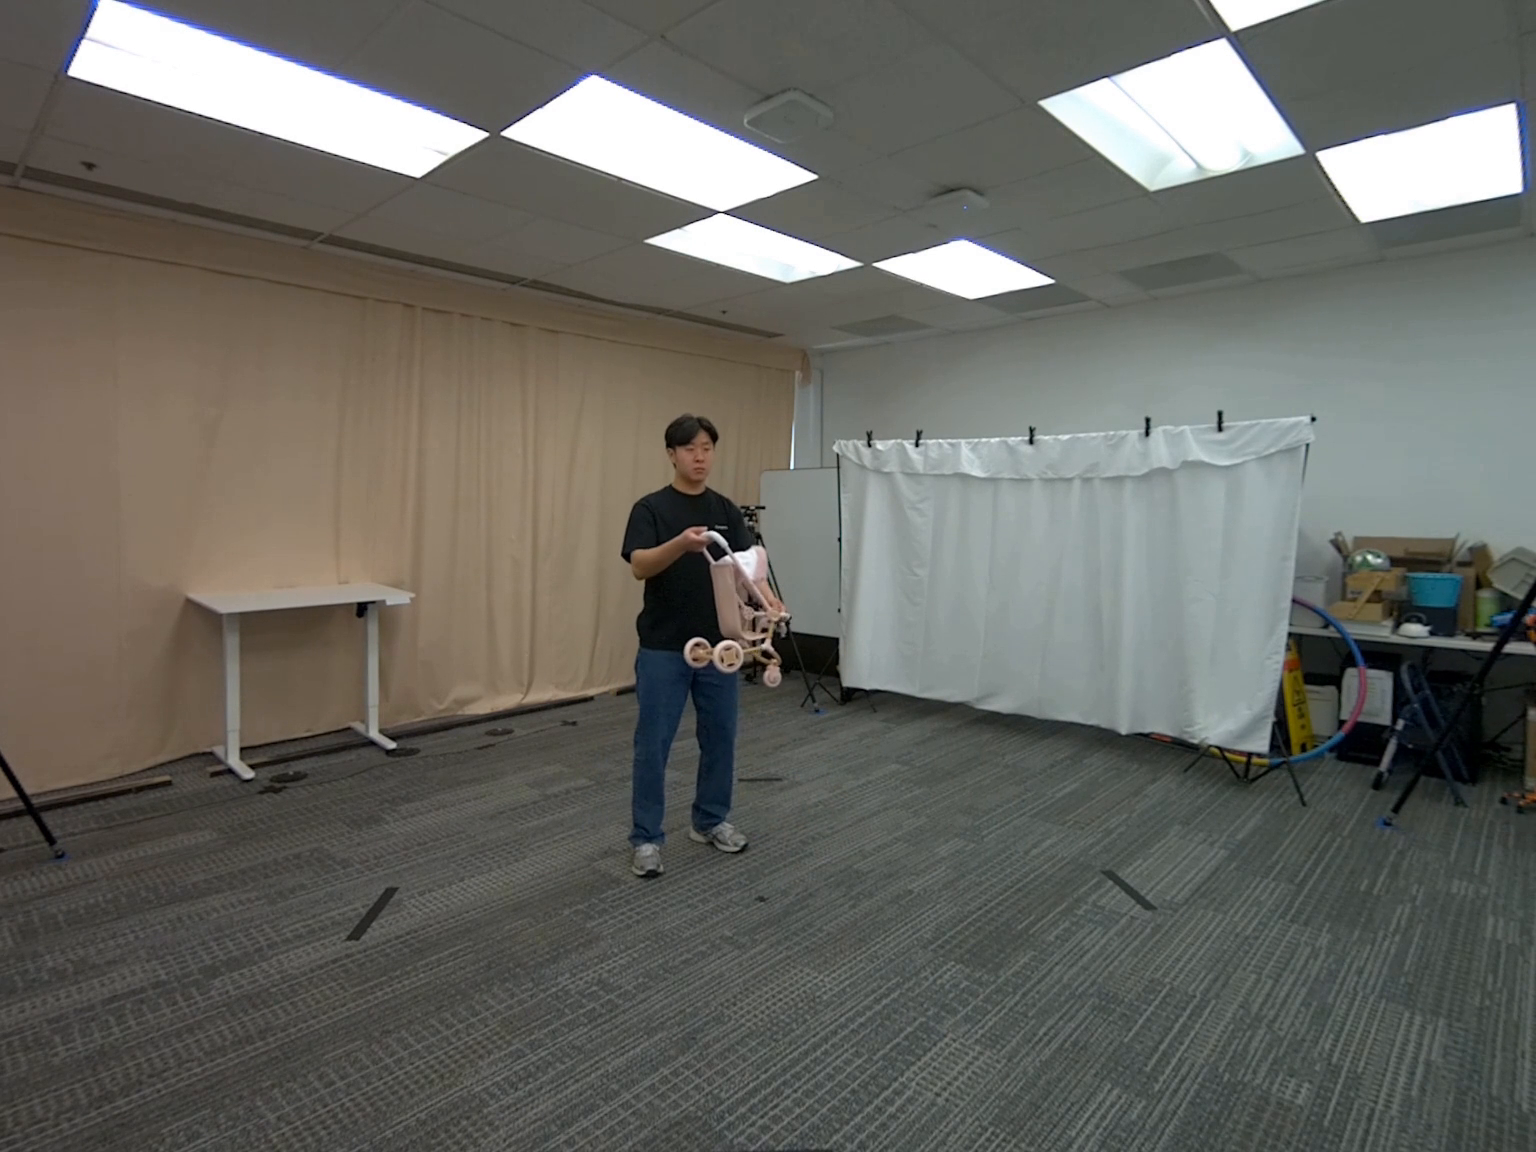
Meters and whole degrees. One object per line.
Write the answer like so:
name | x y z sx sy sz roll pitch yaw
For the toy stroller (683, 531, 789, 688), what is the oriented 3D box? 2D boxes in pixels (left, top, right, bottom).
toy stroller | -0.086 0.134 2.996 0.333 0.537 0.287 5 -7 -22
